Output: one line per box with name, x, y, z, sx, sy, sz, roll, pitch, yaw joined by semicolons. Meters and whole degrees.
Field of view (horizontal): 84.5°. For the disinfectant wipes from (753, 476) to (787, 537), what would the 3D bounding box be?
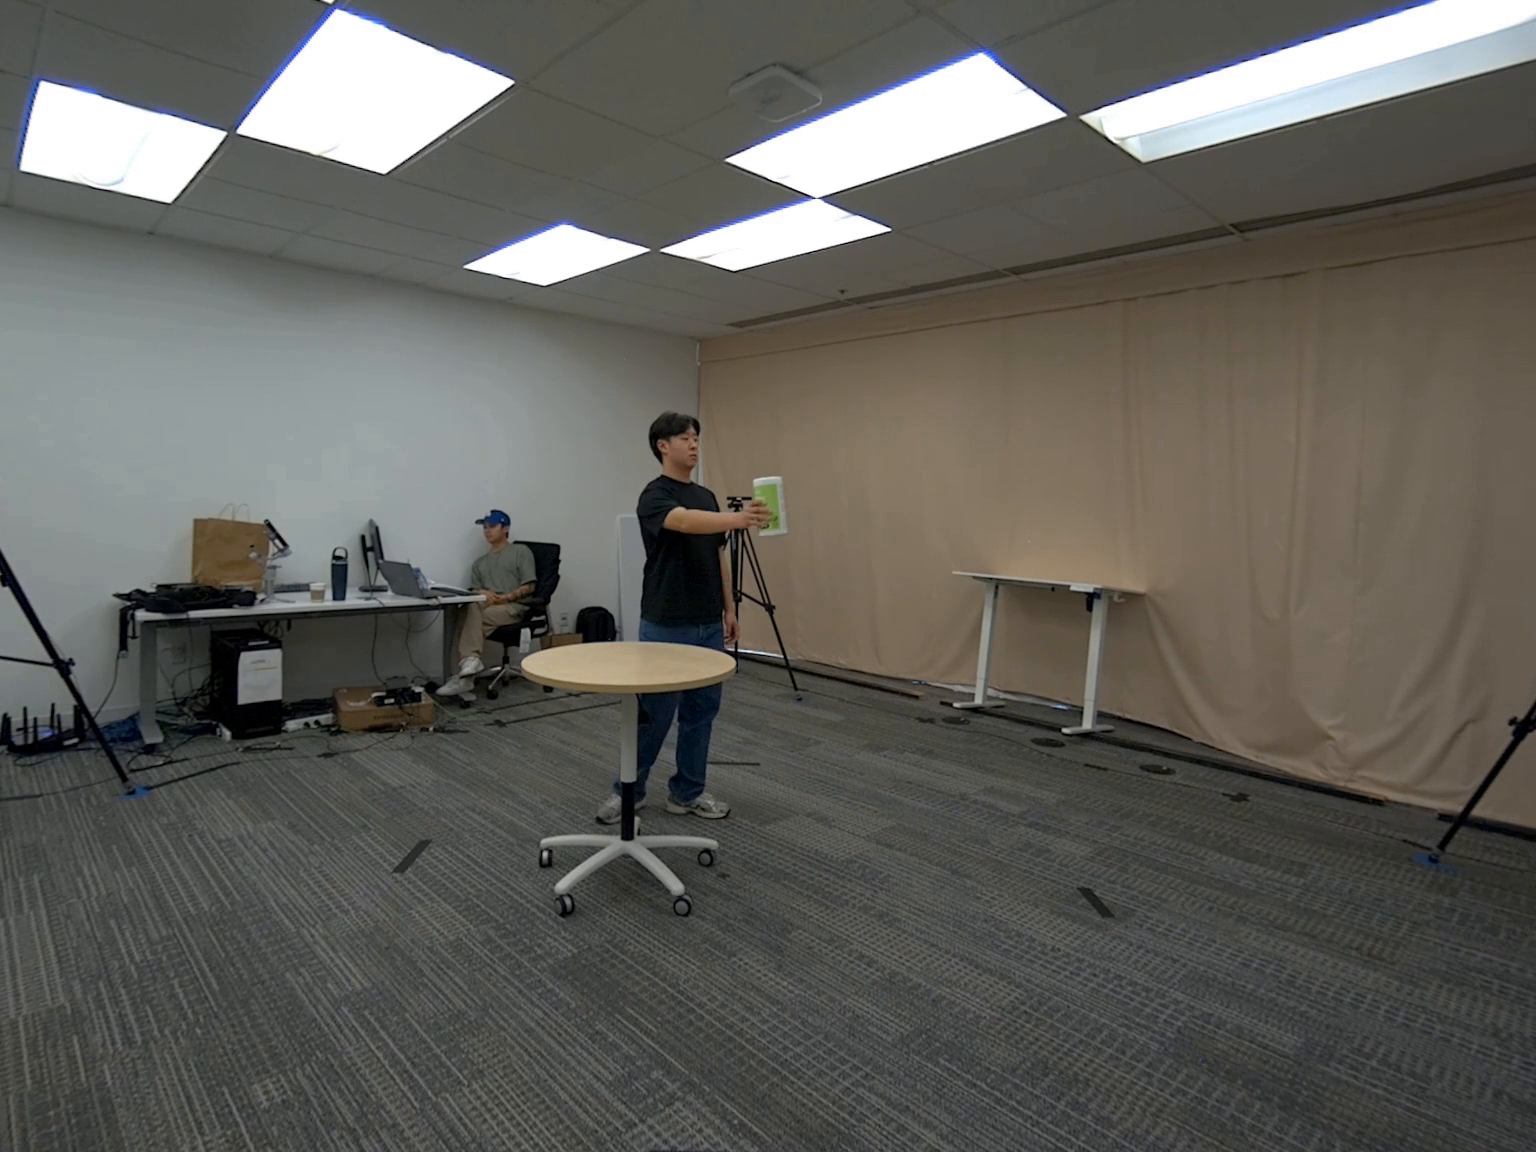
disinfectant wipes;-0.003;-0.247;3.112;0.118;0.217;0.118;-5;1;-1
